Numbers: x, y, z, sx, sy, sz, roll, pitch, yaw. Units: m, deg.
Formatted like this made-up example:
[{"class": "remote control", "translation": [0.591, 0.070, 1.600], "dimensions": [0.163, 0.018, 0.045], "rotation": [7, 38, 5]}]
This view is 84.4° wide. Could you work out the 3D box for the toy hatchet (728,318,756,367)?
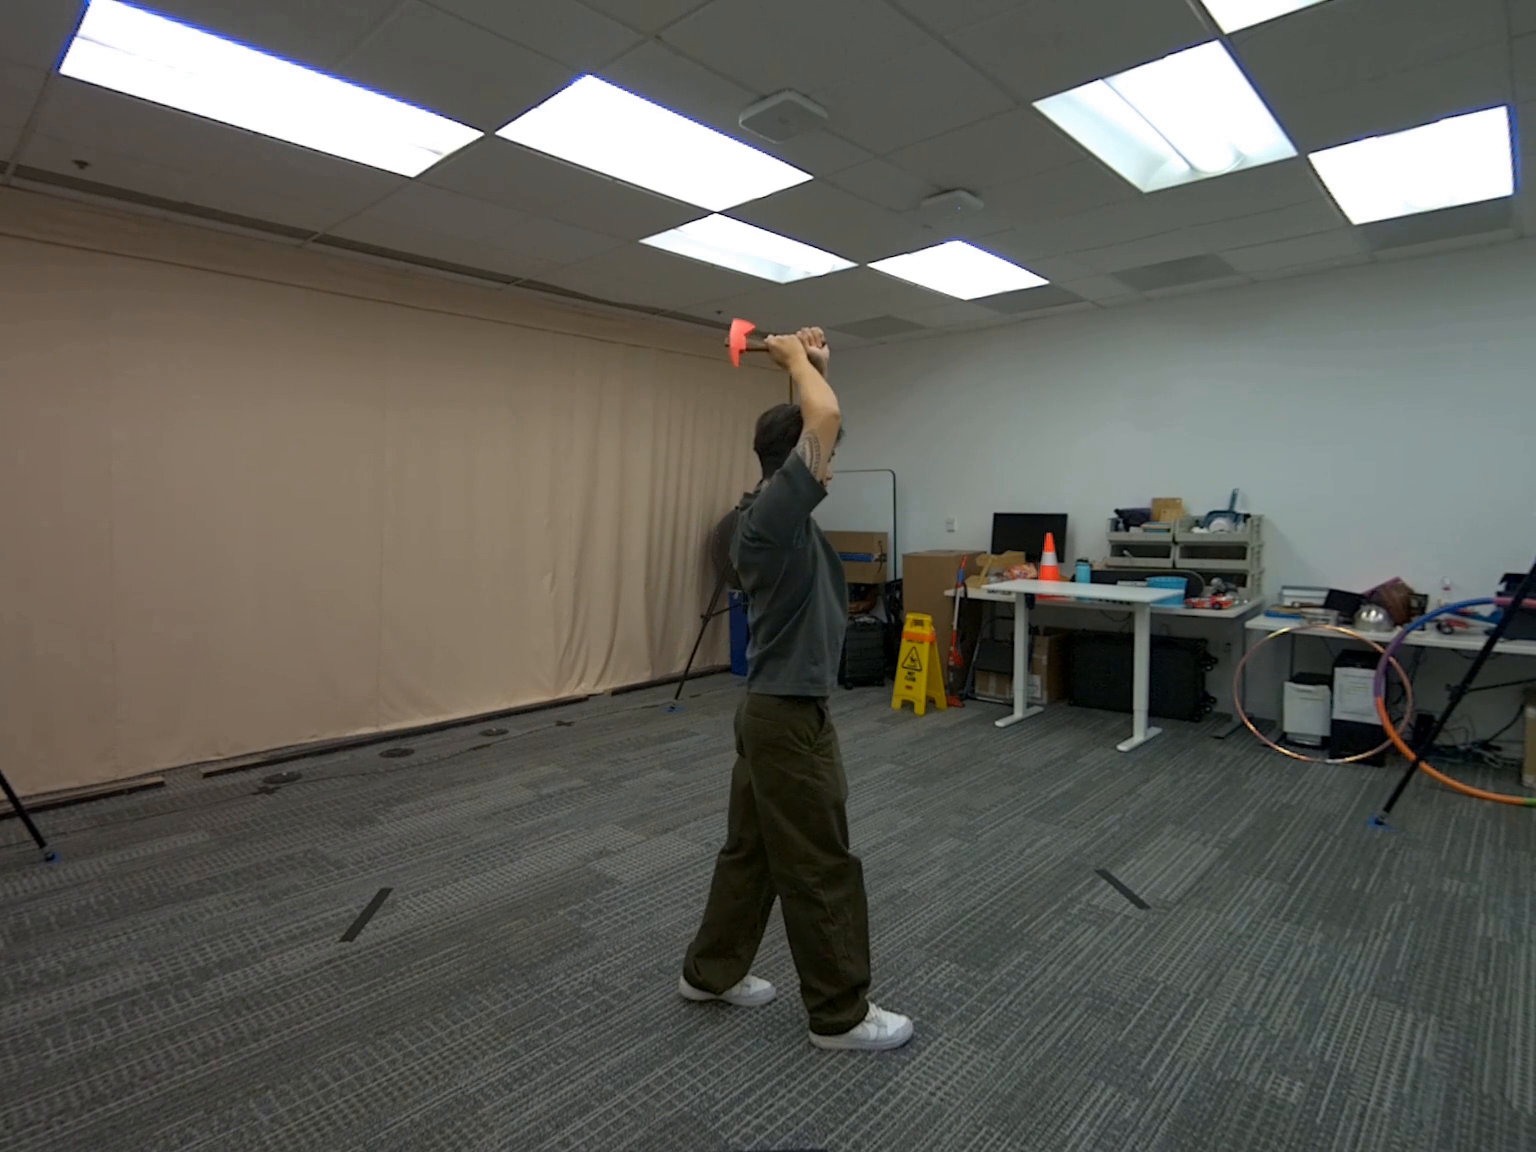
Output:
[{"class": "toy hatchet", "translation": [0.023, -0.639, 2.192], "dimensions": [0.268, 0.132, 0.029], "rotation": [-17, -10, -8]}]
